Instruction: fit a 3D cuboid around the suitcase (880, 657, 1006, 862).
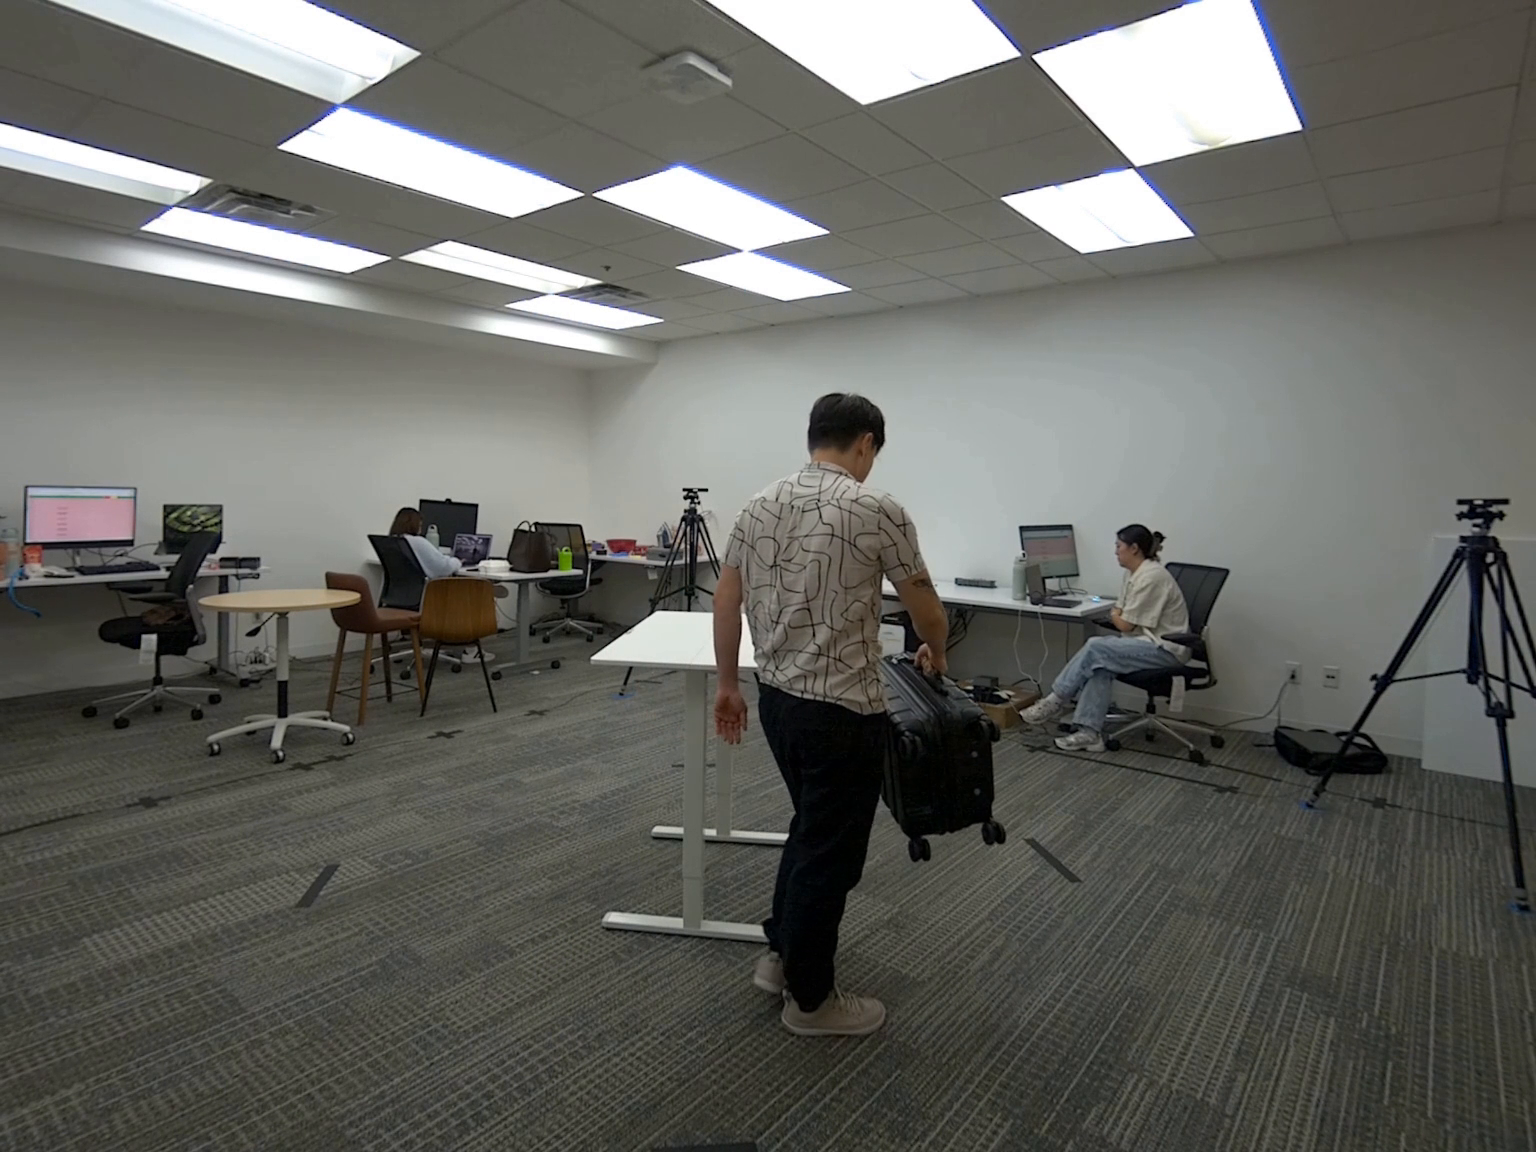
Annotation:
[{"bbox_3d":[0.415,0.457,2.408,0.246,0.370,0.563,-10,15,-10],"label":"suitcase"}]
